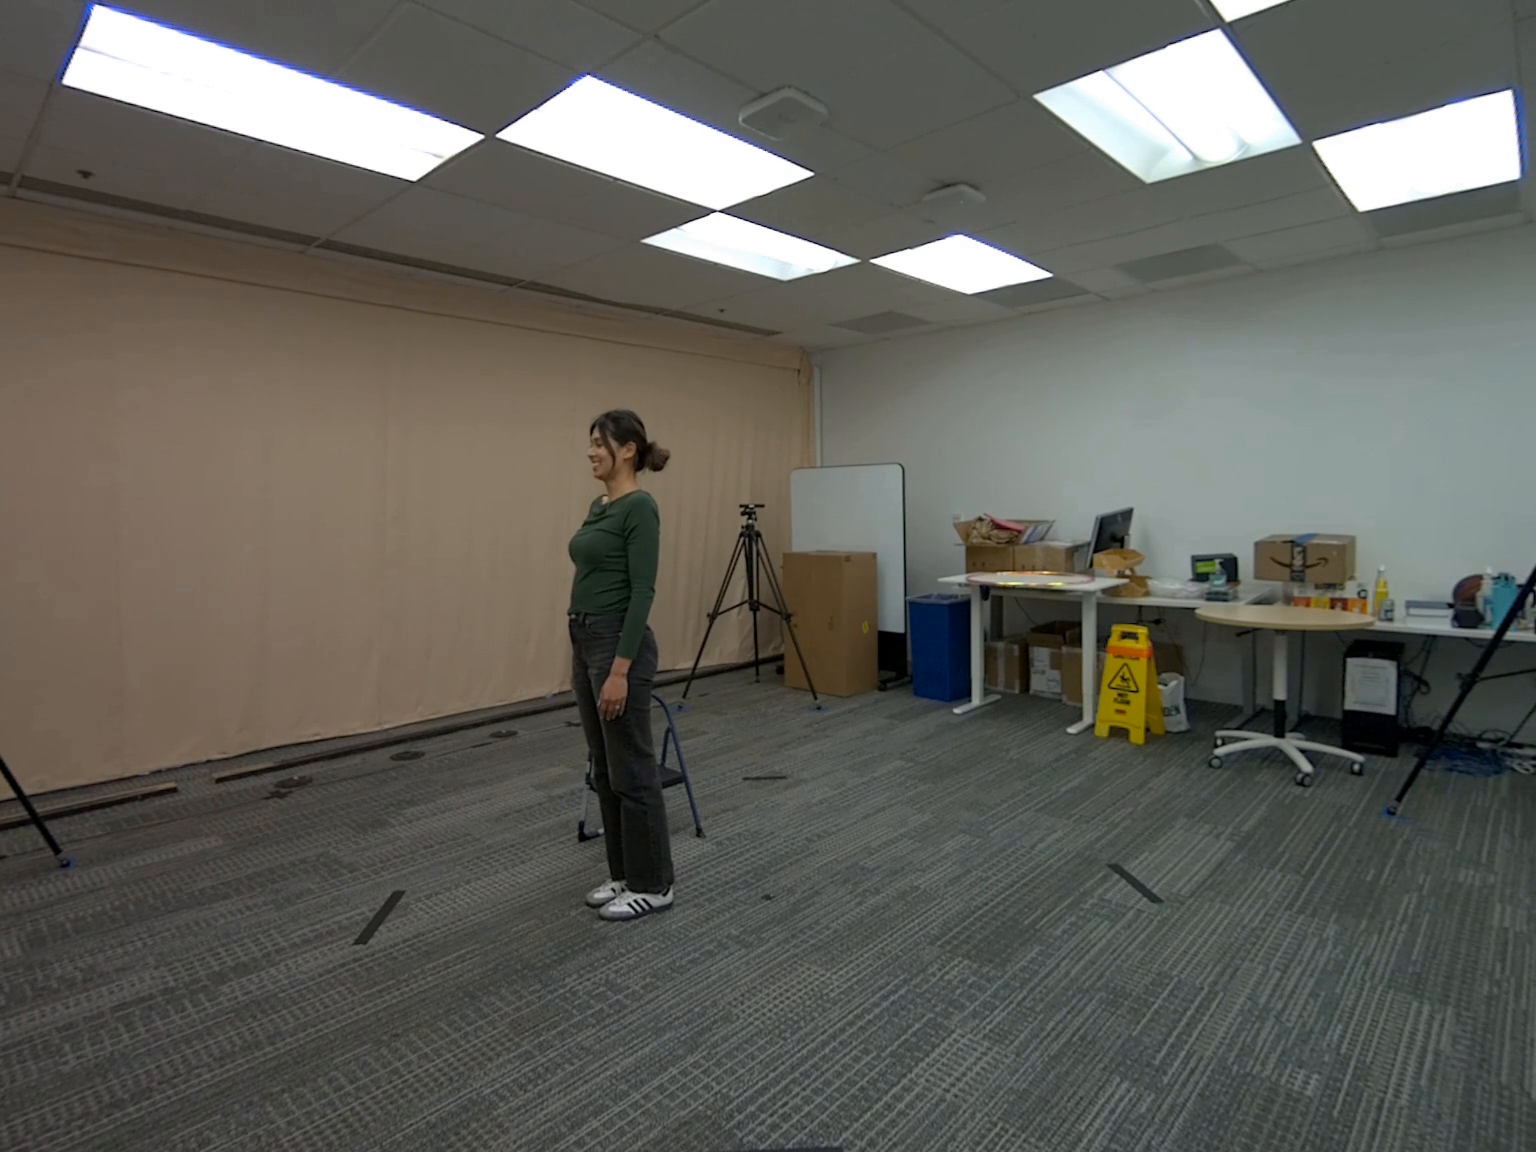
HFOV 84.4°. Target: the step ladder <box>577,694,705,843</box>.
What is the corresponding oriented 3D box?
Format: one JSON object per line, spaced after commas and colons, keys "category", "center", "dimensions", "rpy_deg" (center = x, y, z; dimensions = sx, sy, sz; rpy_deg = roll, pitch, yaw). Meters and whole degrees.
{"category": "step ladder", "center": [-0.536, 0.804, 3.522], "dimensions": [0.417, 0.605, 0.361], "rpy_deg": [-3, 4, -43]}
